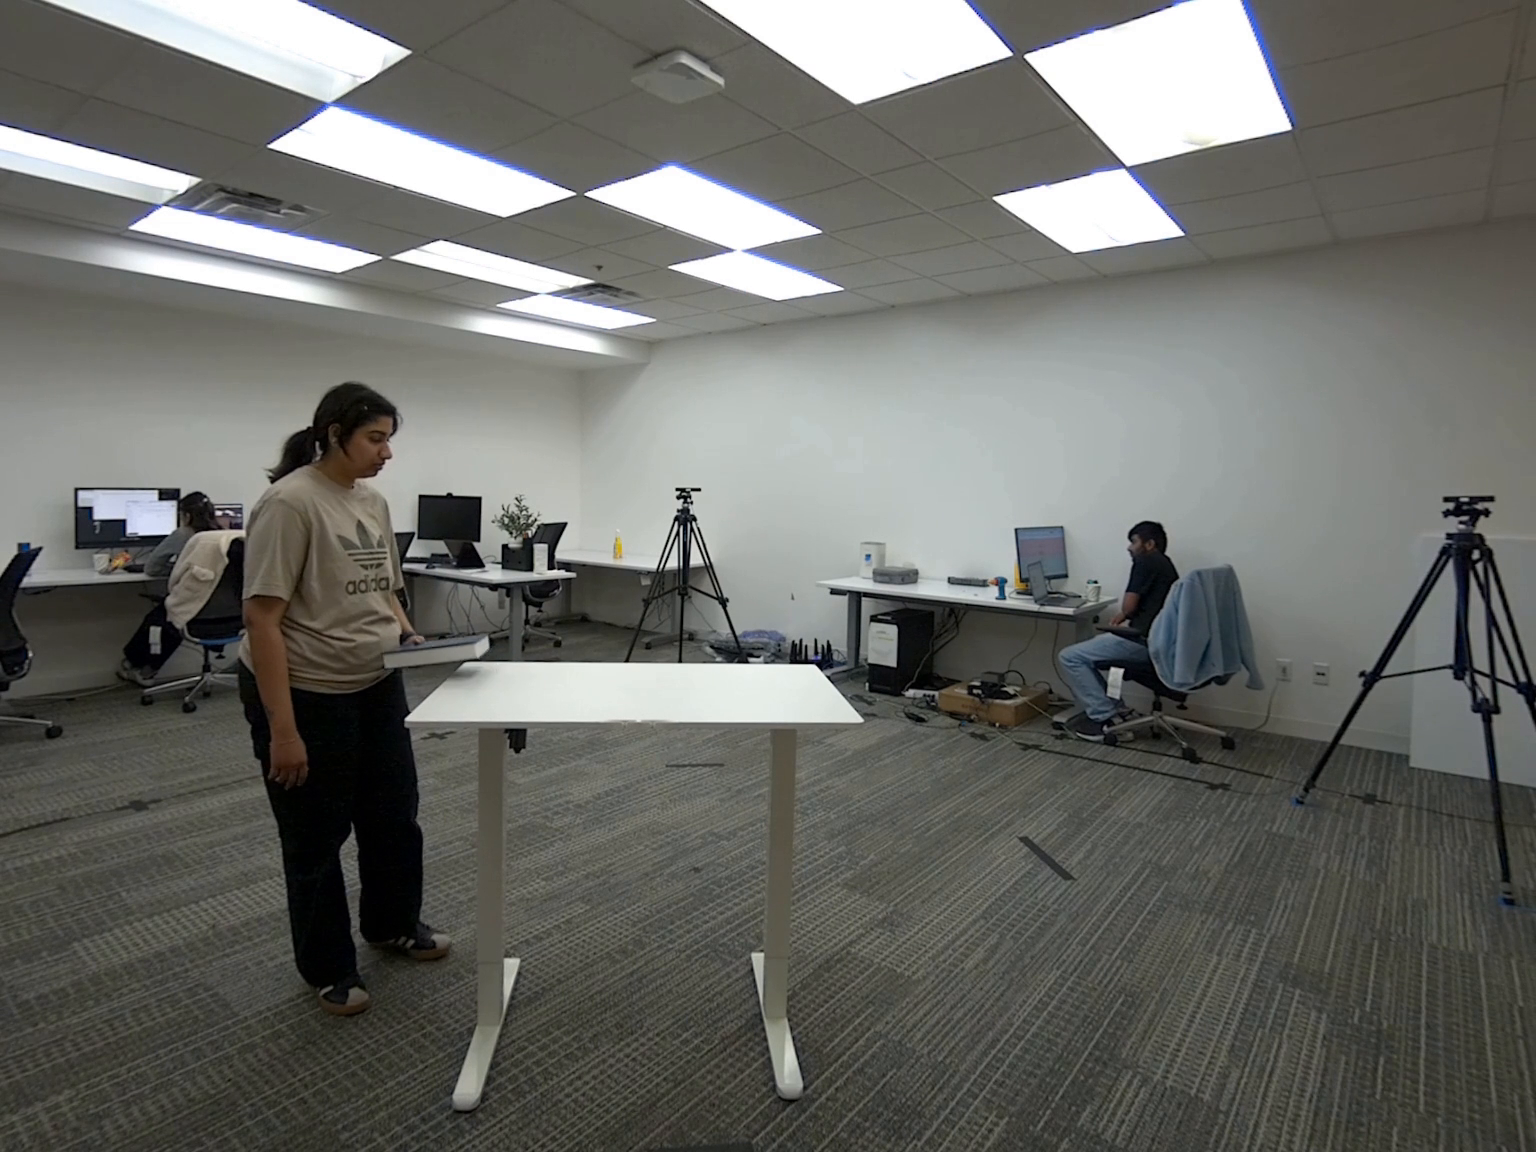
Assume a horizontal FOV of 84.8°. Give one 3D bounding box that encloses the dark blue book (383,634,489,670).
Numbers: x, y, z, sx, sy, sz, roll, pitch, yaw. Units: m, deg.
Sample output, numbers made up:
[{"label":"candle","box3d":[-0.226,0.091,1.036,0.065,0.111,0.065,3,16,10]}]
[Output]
[{"label":"dark blue book","box3d":[-0.911,0.206,2.248,0.244,0.045,0.165,-7,4,-6]}]
